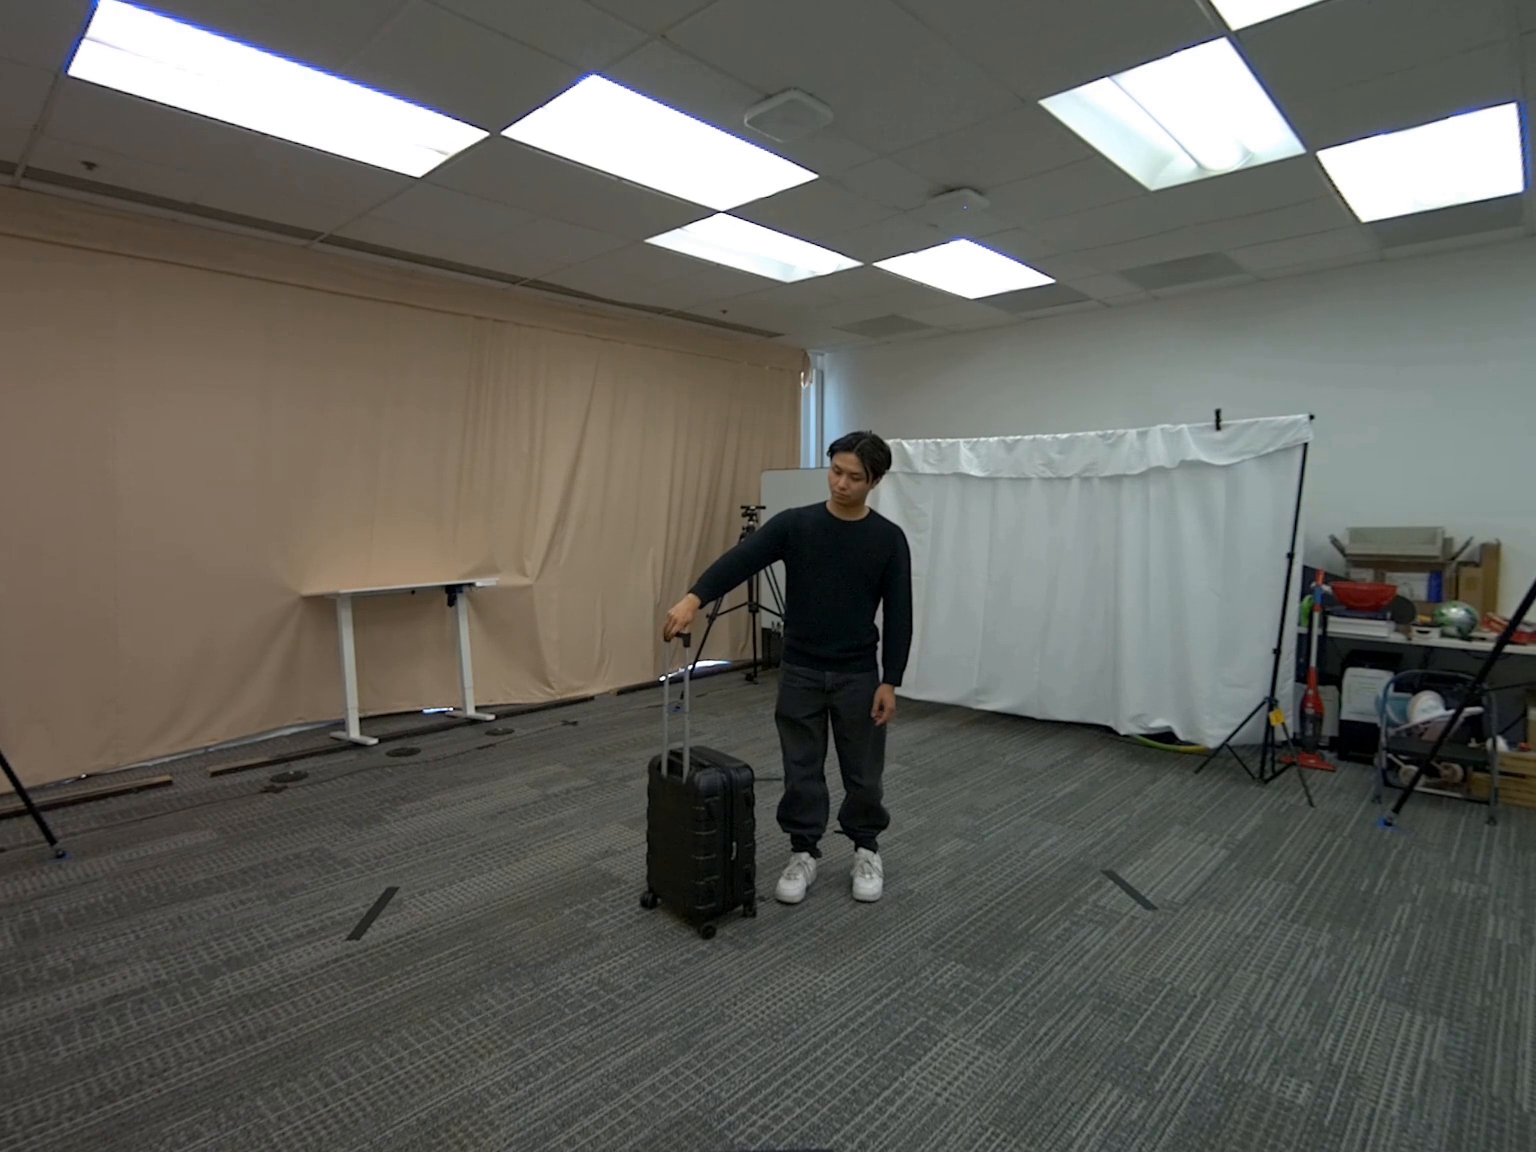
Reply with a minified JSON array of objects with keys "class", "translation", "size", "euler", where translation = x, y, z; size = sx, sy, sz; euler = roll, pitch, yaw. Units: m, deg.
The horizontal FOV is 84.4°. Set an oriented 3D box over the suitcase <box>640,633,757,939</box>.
[{"class":"suitcase","translation":[-0.229,0.675,2.878],"size":[0.249,0.978,0.396],"euler":[0,2,-39]}]
